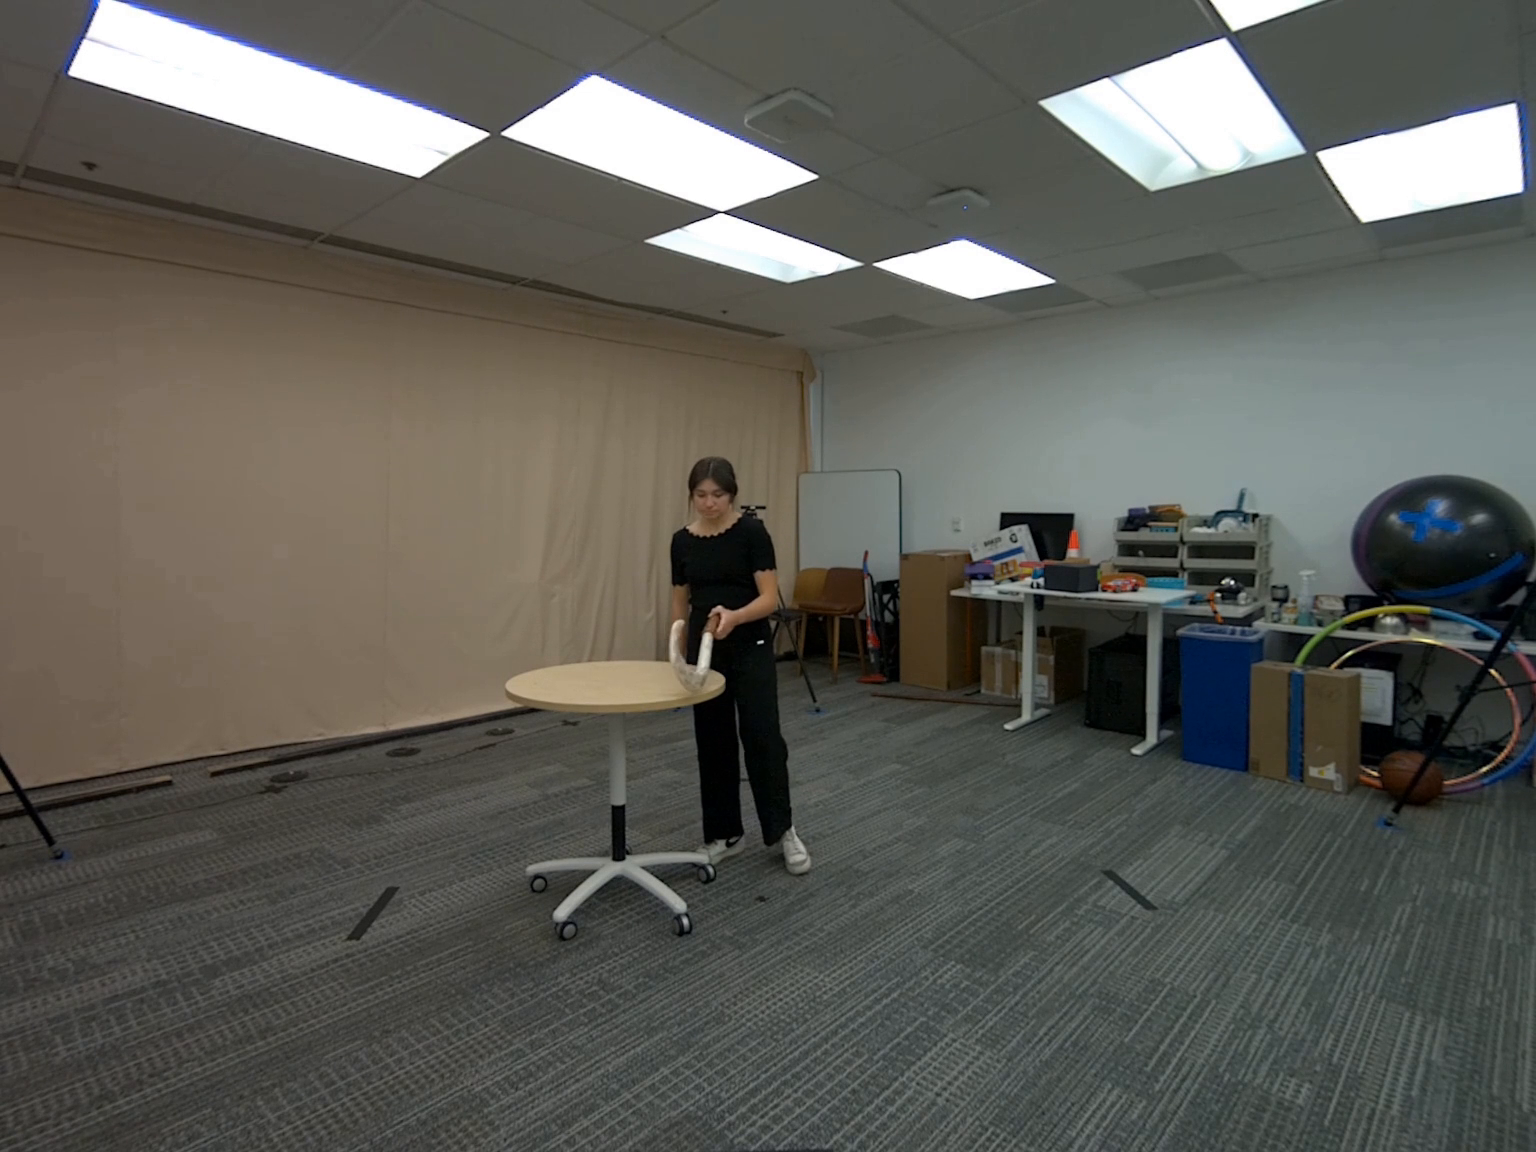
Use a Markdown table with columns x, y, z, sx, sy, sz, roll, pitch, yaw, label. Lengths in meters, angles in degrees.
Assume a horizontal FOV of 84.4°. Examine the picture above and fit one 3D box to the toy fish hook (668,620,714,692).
| x | y | z | sx | sy | sz | roll | pitch | yaw | label |
| --- | --- | --- | --- | --- | --- | --- | --- | --- | --- |
| -0.209 | 0.200 | 2.848 | 0.049 | 0.220 | 0.506 | -10 | 24 | 20 | toy fish hook |
